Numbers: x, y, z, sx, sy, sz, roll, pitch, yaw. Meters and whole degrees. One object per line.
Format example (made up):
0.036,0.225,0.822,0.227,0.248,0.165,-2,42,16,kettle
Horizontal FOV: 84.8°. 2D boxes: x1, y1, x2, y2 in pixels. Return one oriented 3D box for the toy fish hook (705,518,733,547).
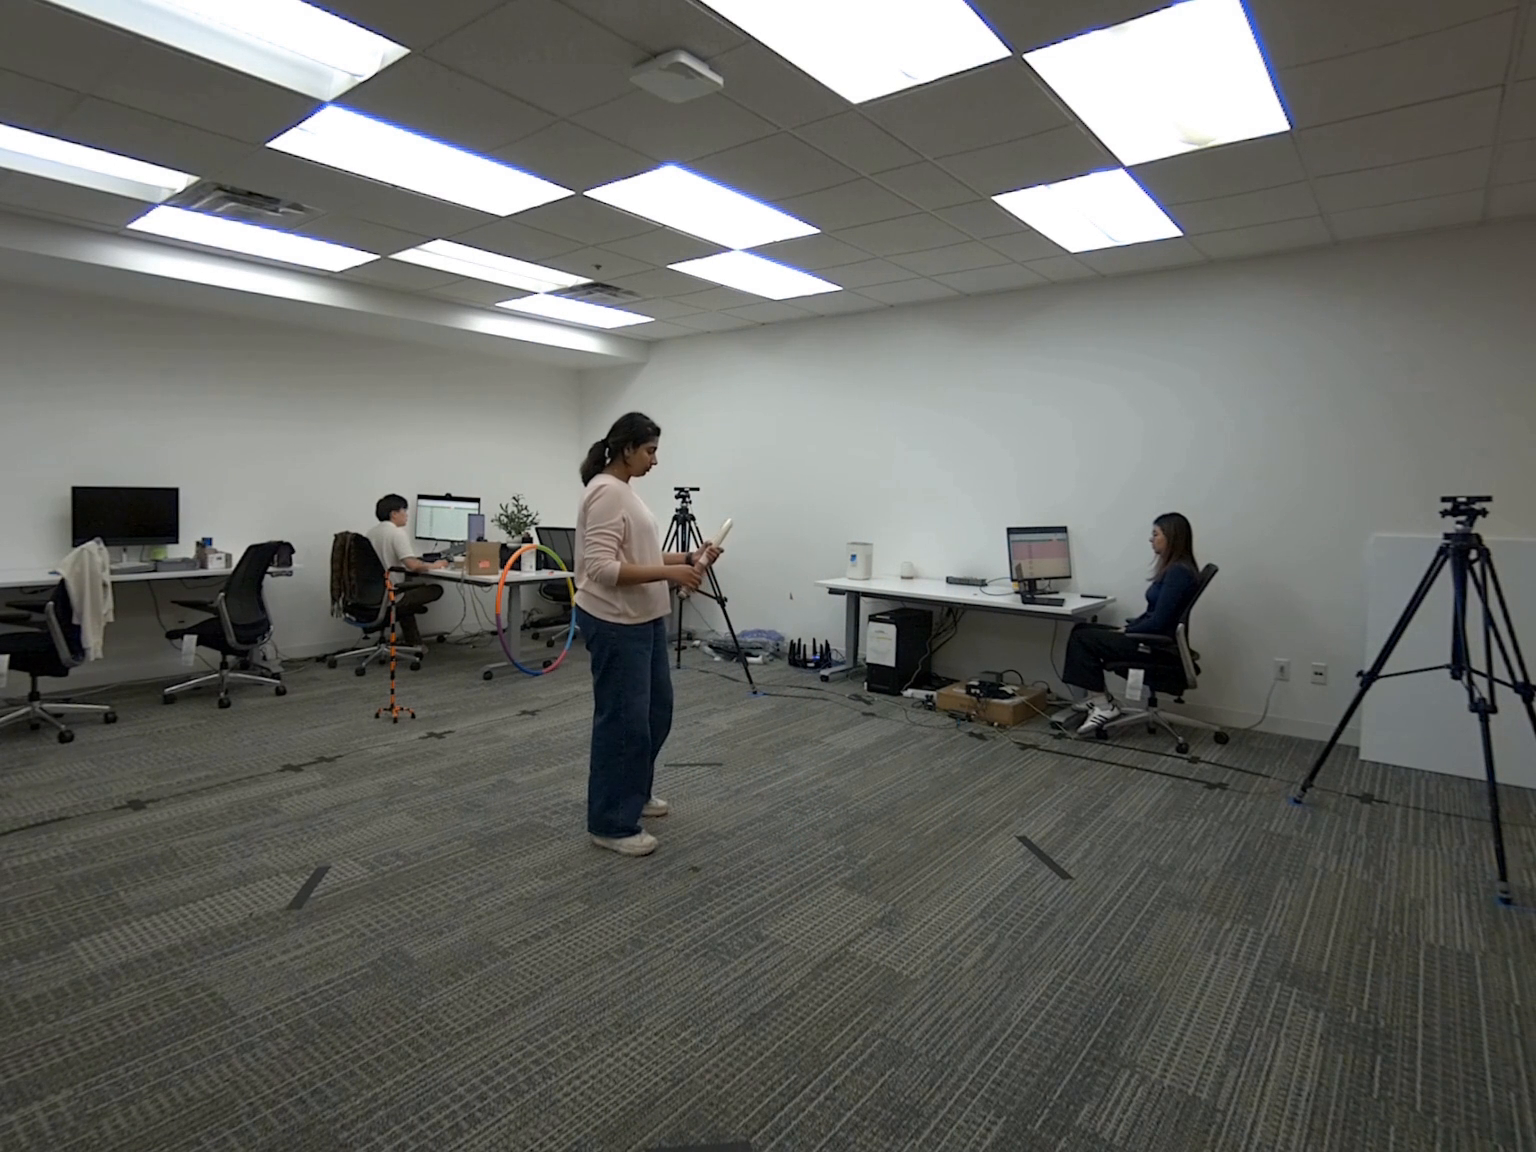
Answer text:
-0.280,-0.051,3.530,0.048,0.222,0.510,31,47,-1,toy fish hook
